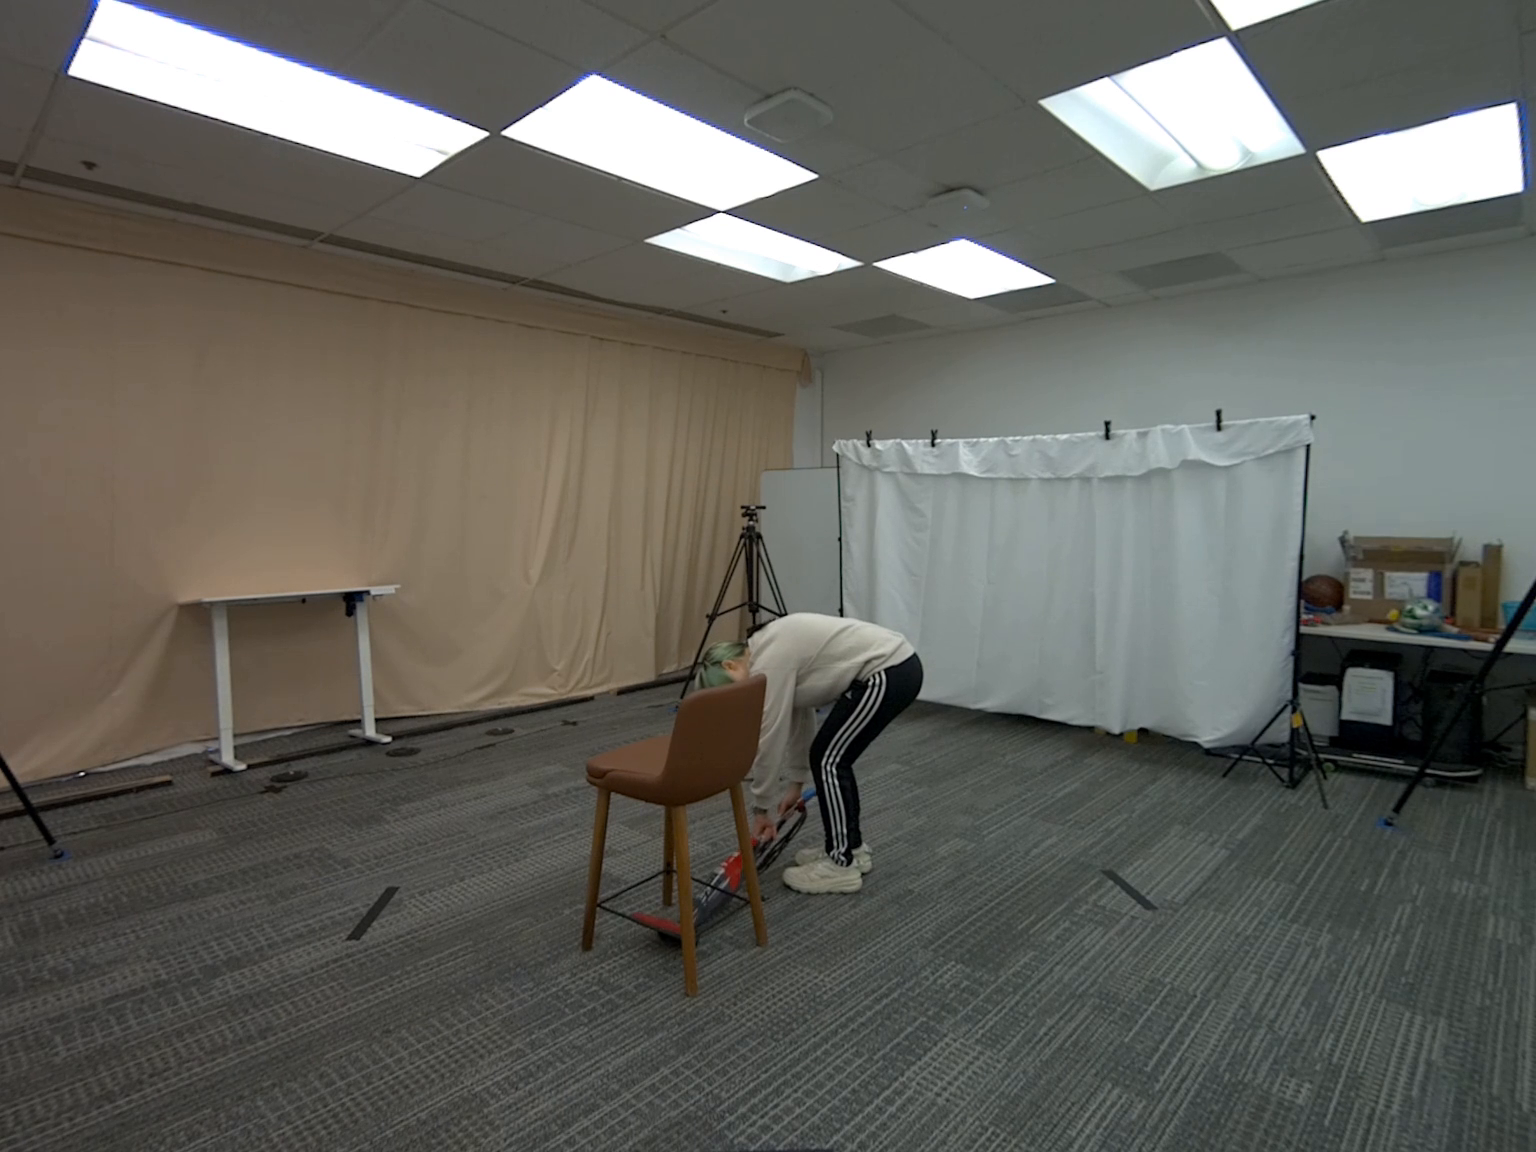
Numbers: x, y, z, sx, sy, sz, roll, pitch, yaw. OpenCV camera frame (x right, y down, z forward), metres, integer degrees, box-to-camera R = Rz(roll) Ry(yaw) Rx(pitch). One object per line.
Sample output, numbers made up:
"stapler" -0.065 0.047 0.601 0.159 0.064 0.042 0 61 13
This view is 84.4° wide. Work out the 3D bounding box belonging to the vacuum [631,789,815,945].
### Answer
"vacuum" -0.039 1.017 3.069 0.260 0.143 1.025 0 12 33
